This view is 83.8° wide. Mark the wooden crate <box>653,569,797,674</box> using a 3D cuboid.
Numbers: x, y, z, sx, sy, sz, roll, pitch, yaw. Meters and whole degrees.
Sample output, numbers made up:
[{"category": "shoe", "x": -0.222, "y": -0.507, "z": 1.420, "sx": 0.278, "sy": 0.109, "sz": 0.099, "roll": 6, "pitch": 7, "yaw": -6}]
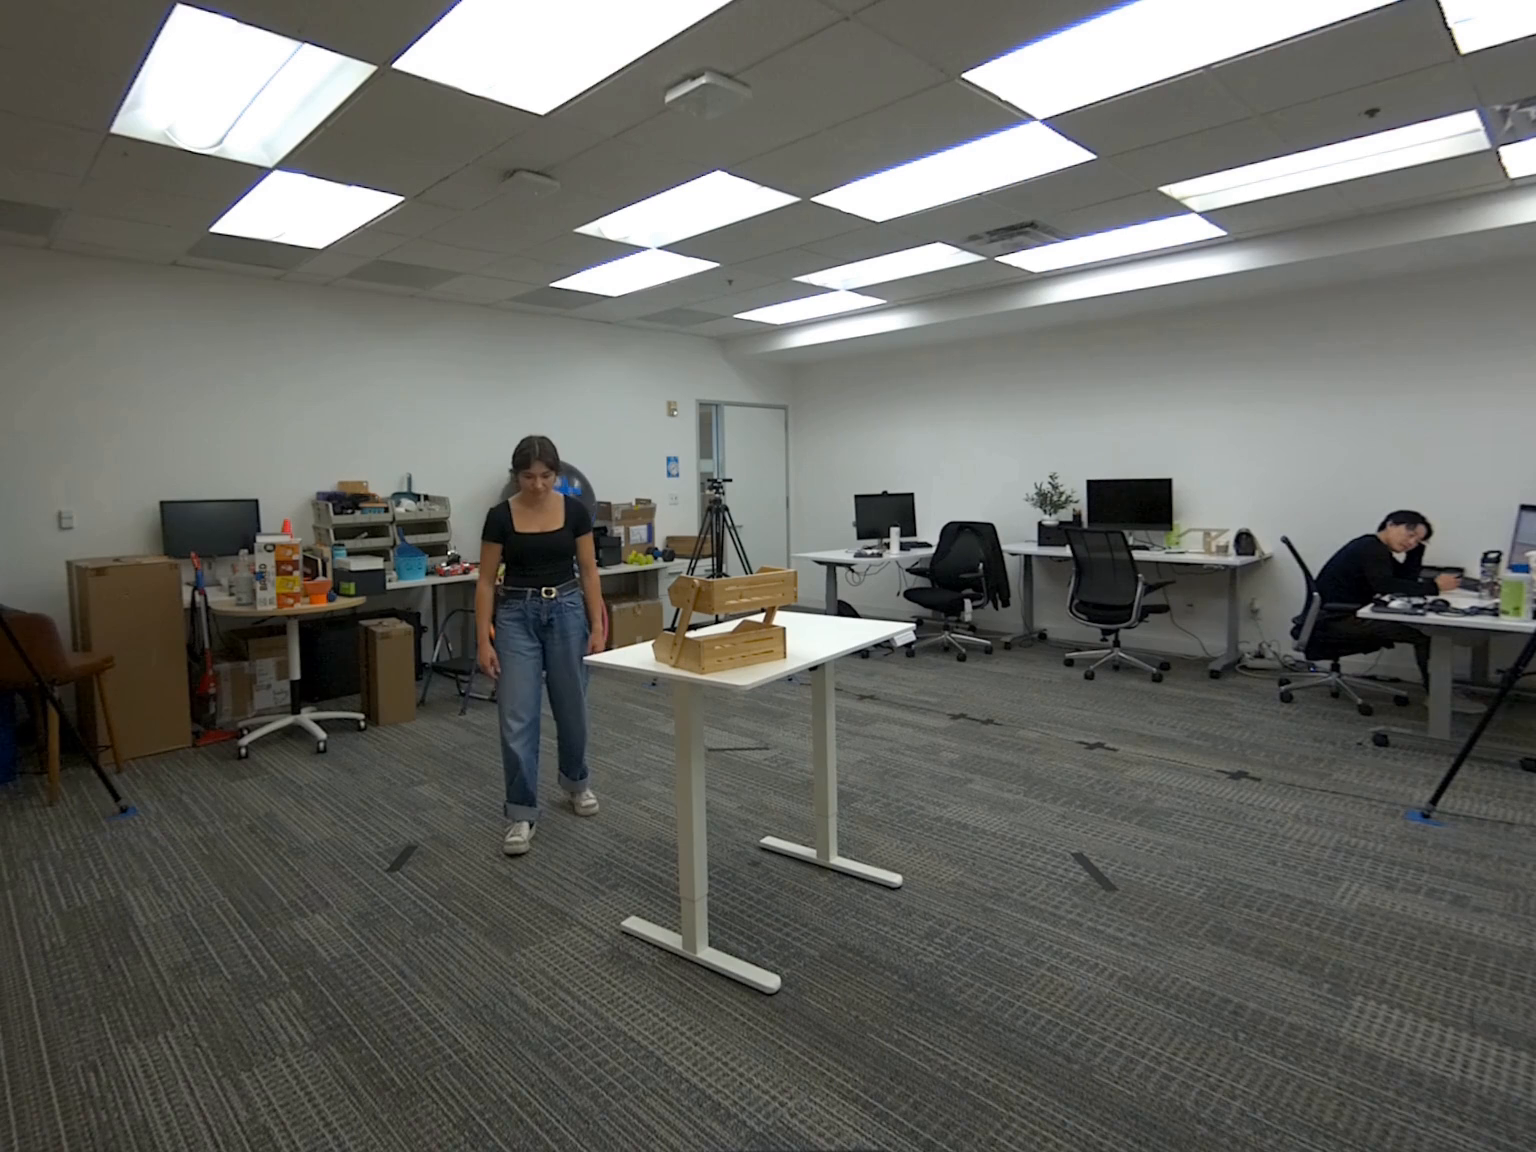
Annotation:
[{"category": "wooden crate", "x": -0.122, "y": 0.112, "z": 2.438, "sx": 0.316, "sy": 0.272, "sz": 0.311, "roll": -6, "pitch": 8, "yaw": -38}]
